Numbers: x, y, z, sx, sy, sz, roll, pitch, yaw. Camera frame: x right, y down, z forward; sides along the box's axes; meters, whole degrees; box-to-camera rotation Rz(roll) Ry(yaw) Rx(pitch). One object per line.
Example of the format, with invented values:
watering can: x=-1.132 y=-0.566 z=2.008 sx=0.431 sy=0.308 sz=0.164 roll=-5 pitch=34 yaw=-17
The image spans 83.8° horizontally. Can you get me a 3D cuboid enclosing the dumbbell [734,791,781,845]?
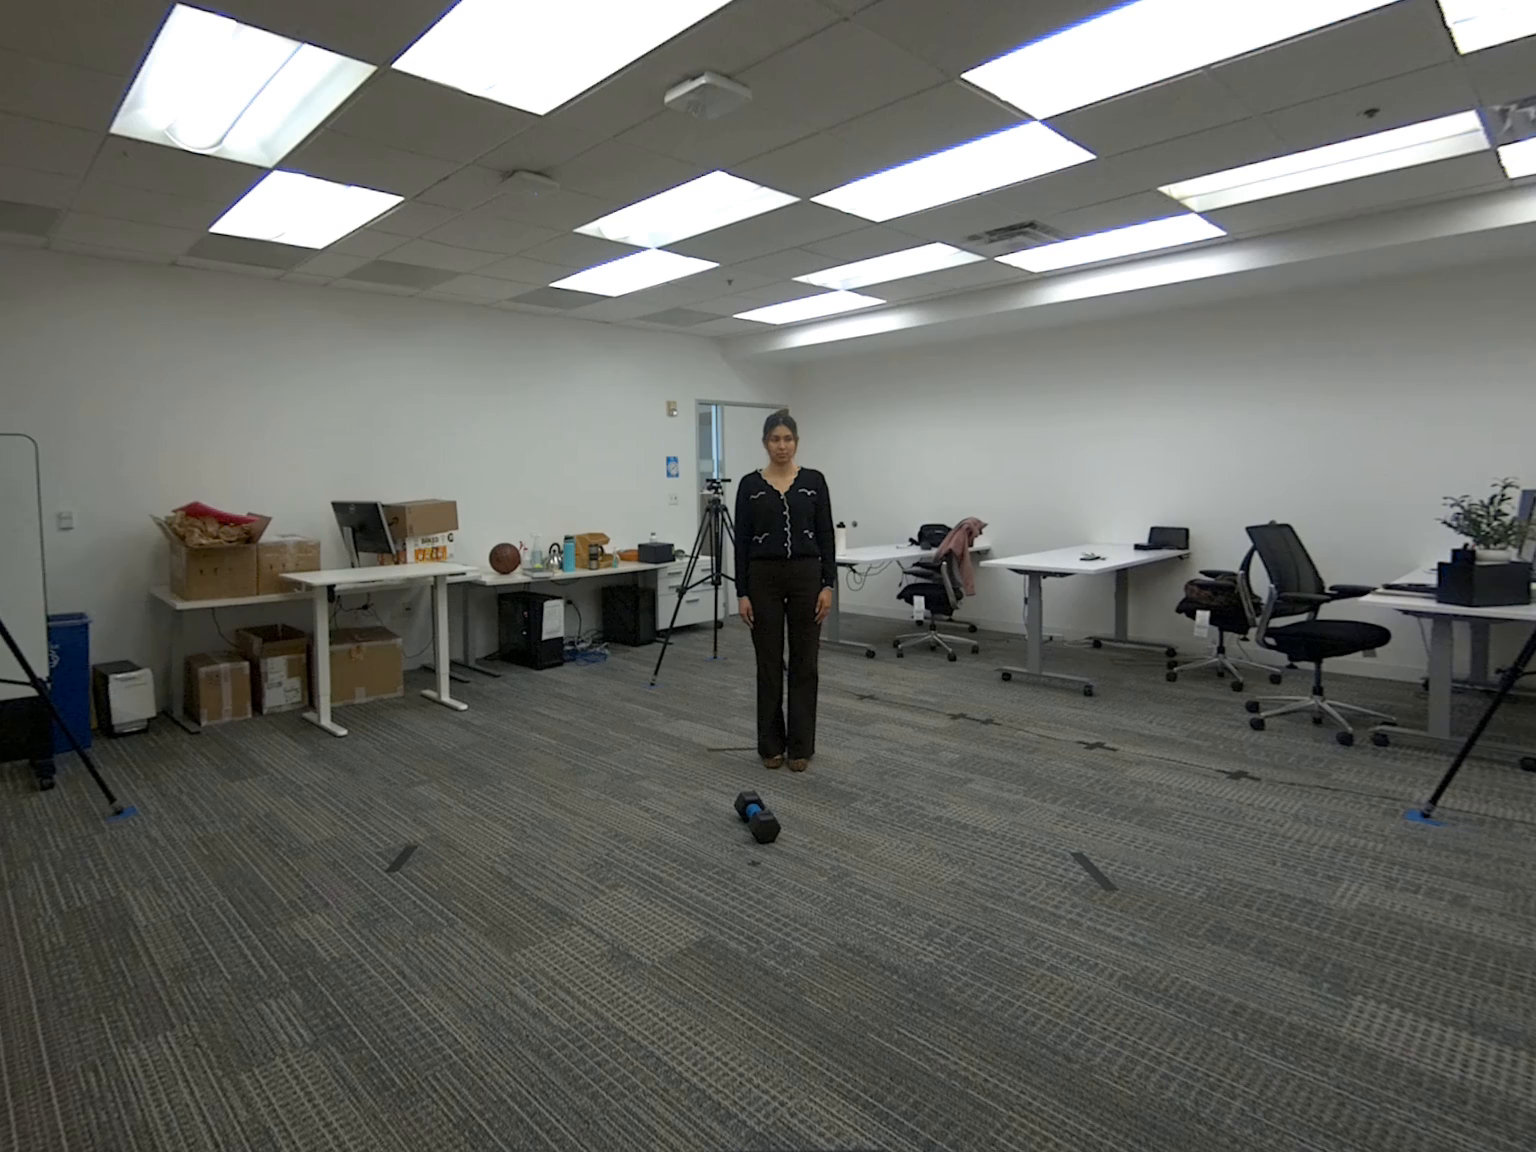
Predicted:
dumbbell: x=-0.041 y=0.959 z=3.401 sx=0.108 sy=0.121 sz=0.299 roll=-31 pitch=13 yaw=-10
